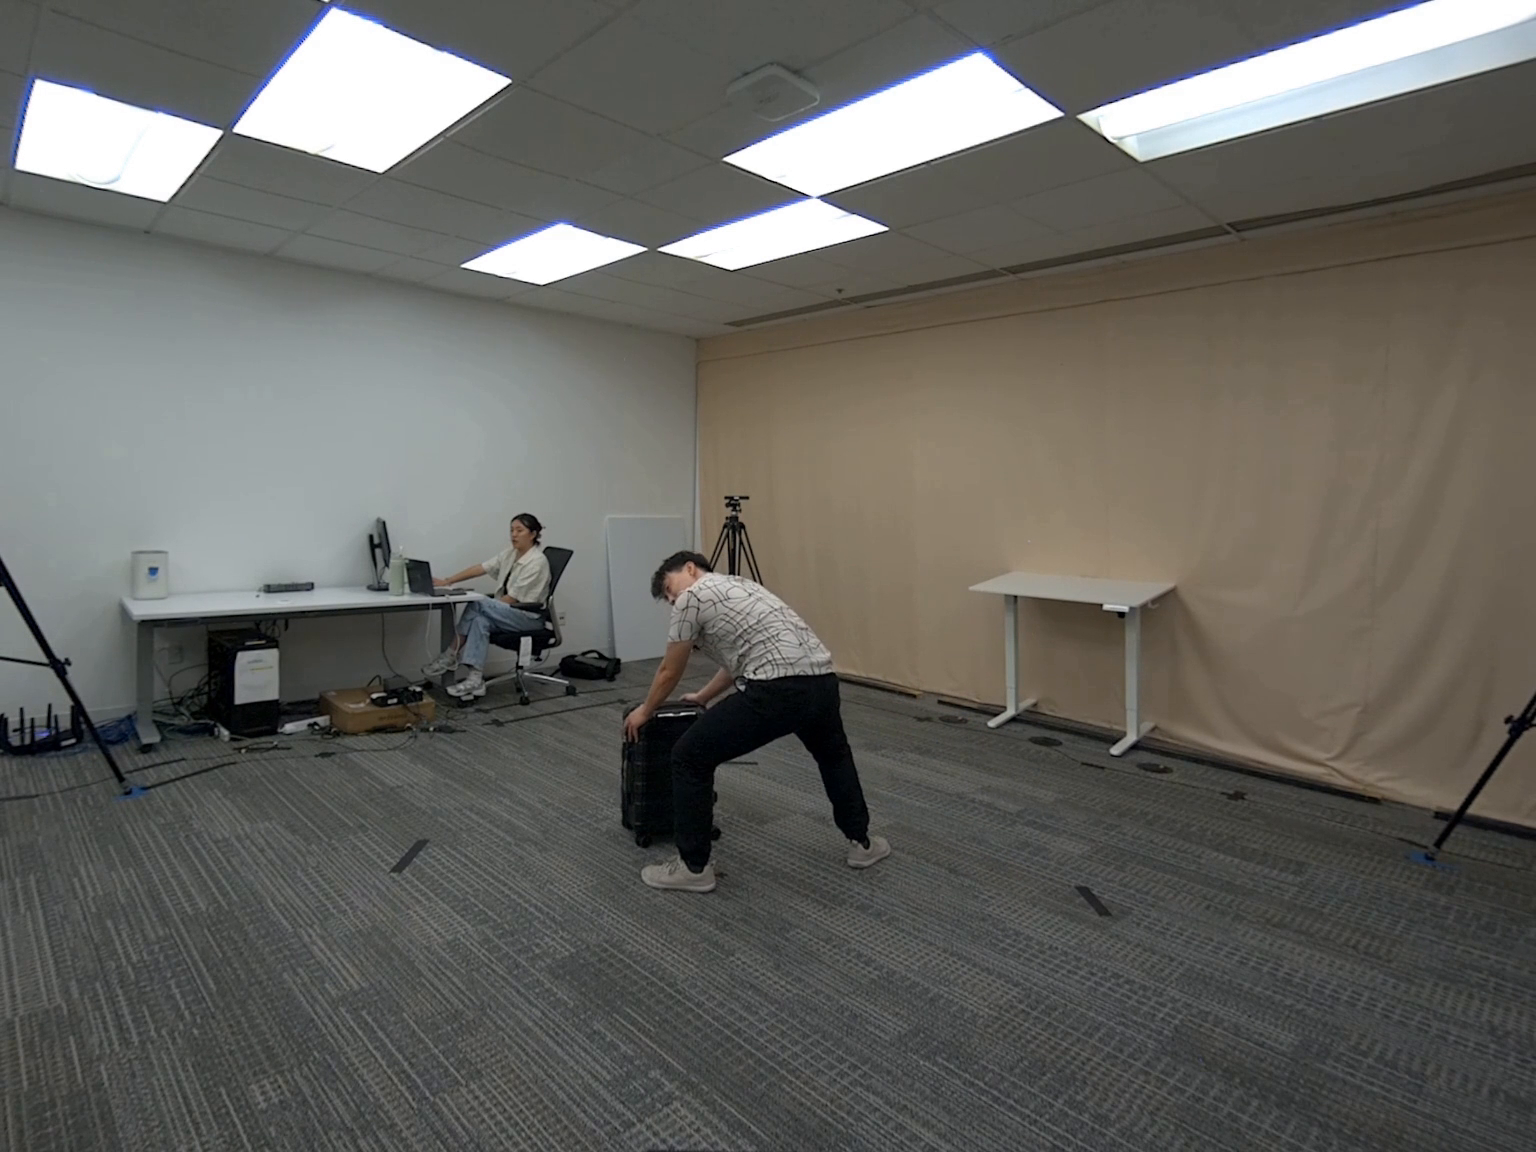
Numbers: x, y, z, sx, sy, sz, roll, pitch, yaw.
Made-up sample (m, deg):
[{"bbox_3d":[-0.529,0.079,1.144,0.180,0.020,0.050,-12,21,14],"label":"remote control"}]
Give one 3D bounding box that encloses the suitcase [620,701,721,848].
[{"bbox_3d":[-0.425,0.791,3.459,0.369,0.547,0.253,-2,5,-22],"label":"suitcase"}]
